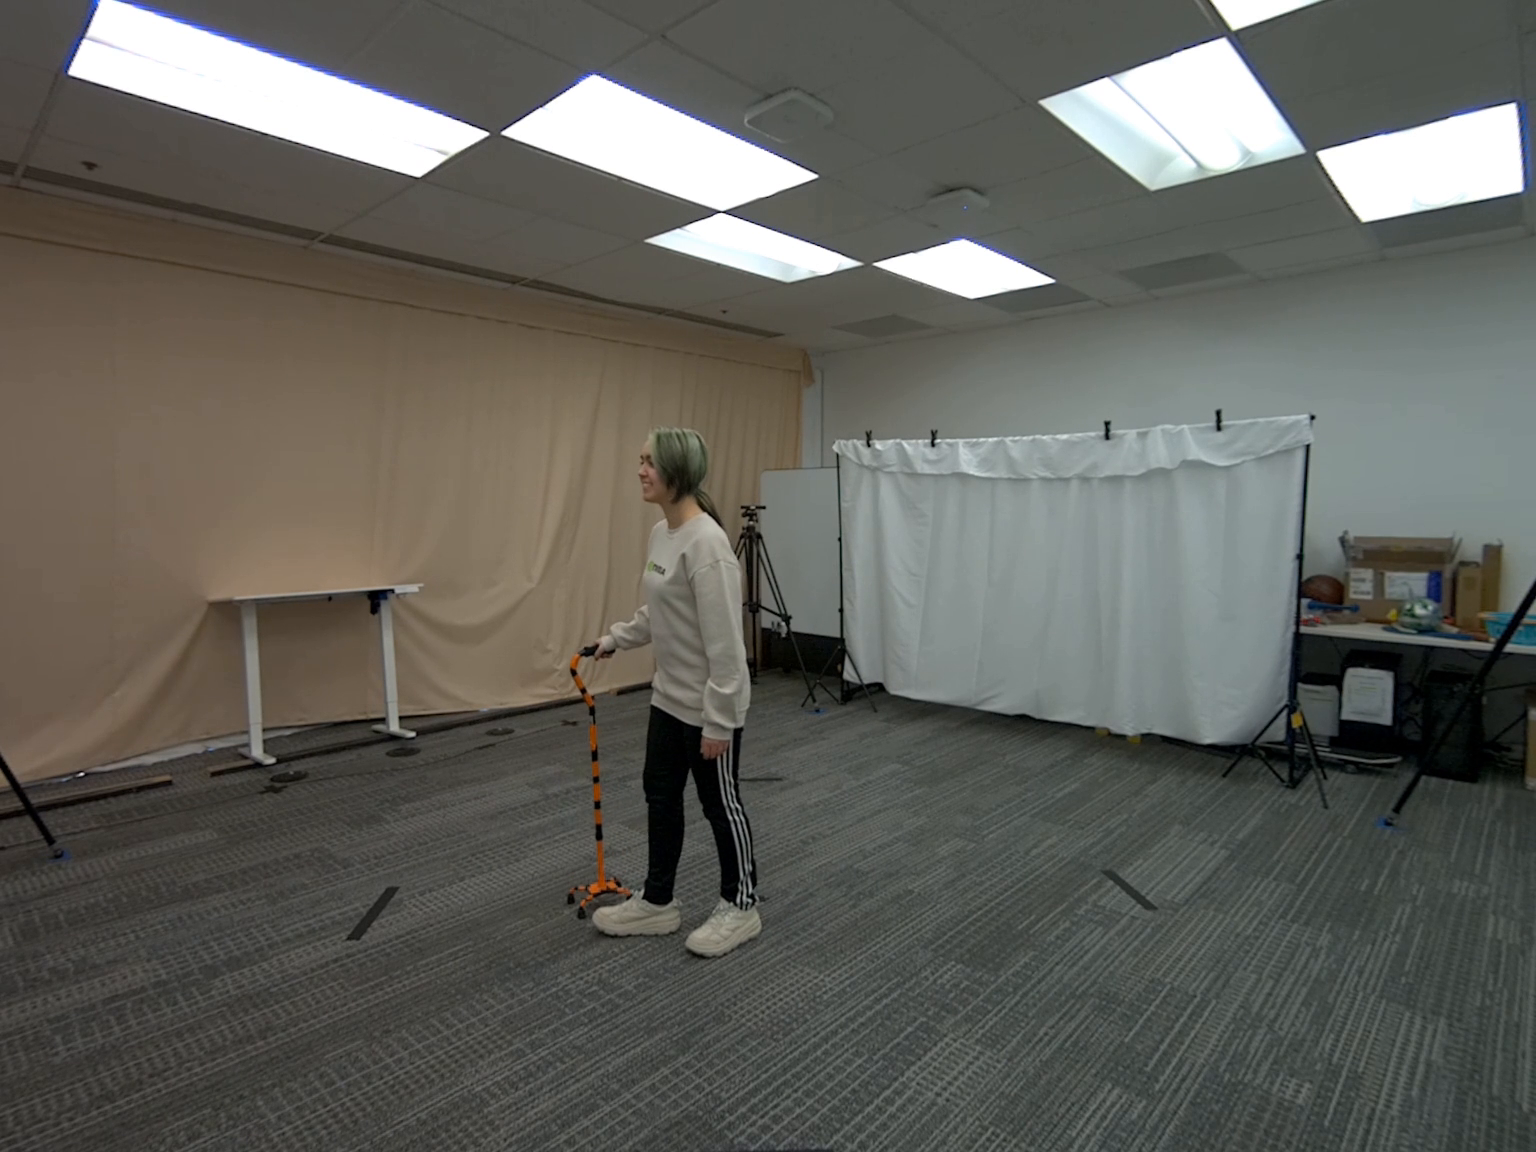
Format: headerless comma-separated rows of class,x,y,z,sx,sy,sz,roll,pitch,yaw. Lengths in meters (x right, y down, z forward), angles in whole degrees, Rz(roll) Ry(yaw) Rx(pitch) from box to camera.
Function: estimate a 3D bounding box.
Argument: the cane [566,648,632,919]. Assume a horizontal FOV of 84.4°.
cane,-0.611,0.698,2.922,0.201,0.905,0.156,-6,4,-32
